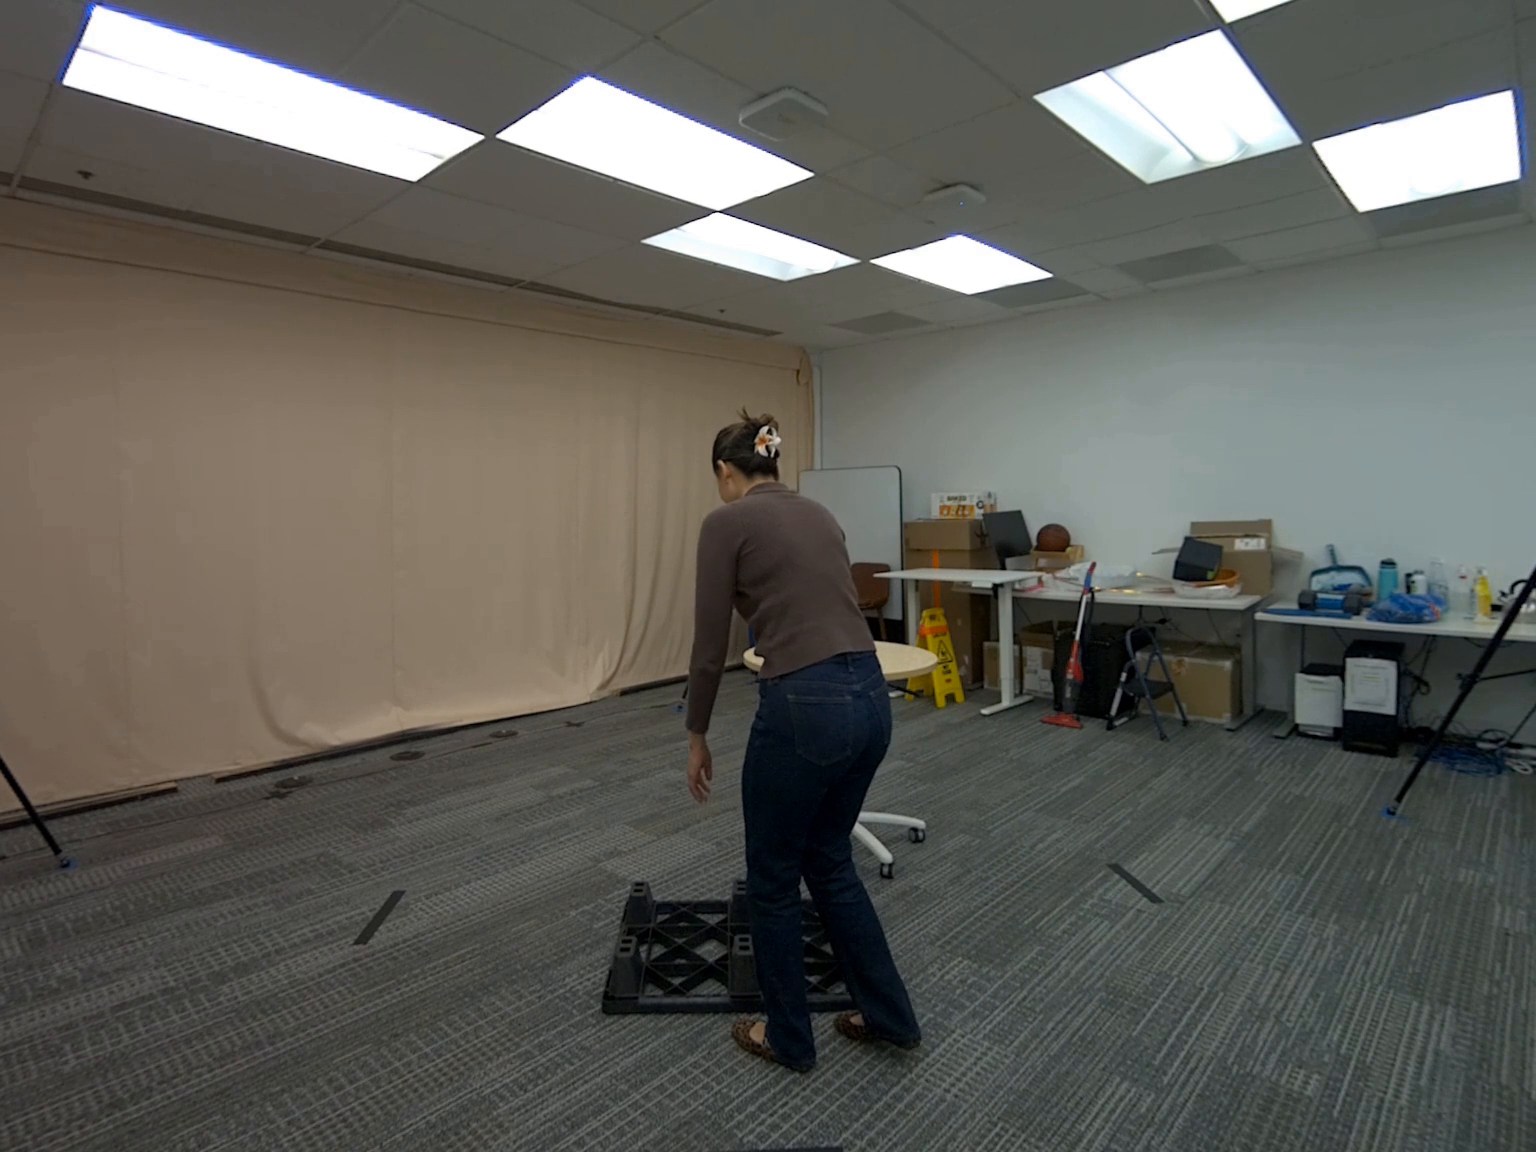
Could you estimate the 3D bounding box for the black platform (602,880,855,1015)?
[{"bbox_3d":[-0.078,1.107,2.596,0.805,0.143,0.607,-1,4,-1],"label":"black platform"}]
